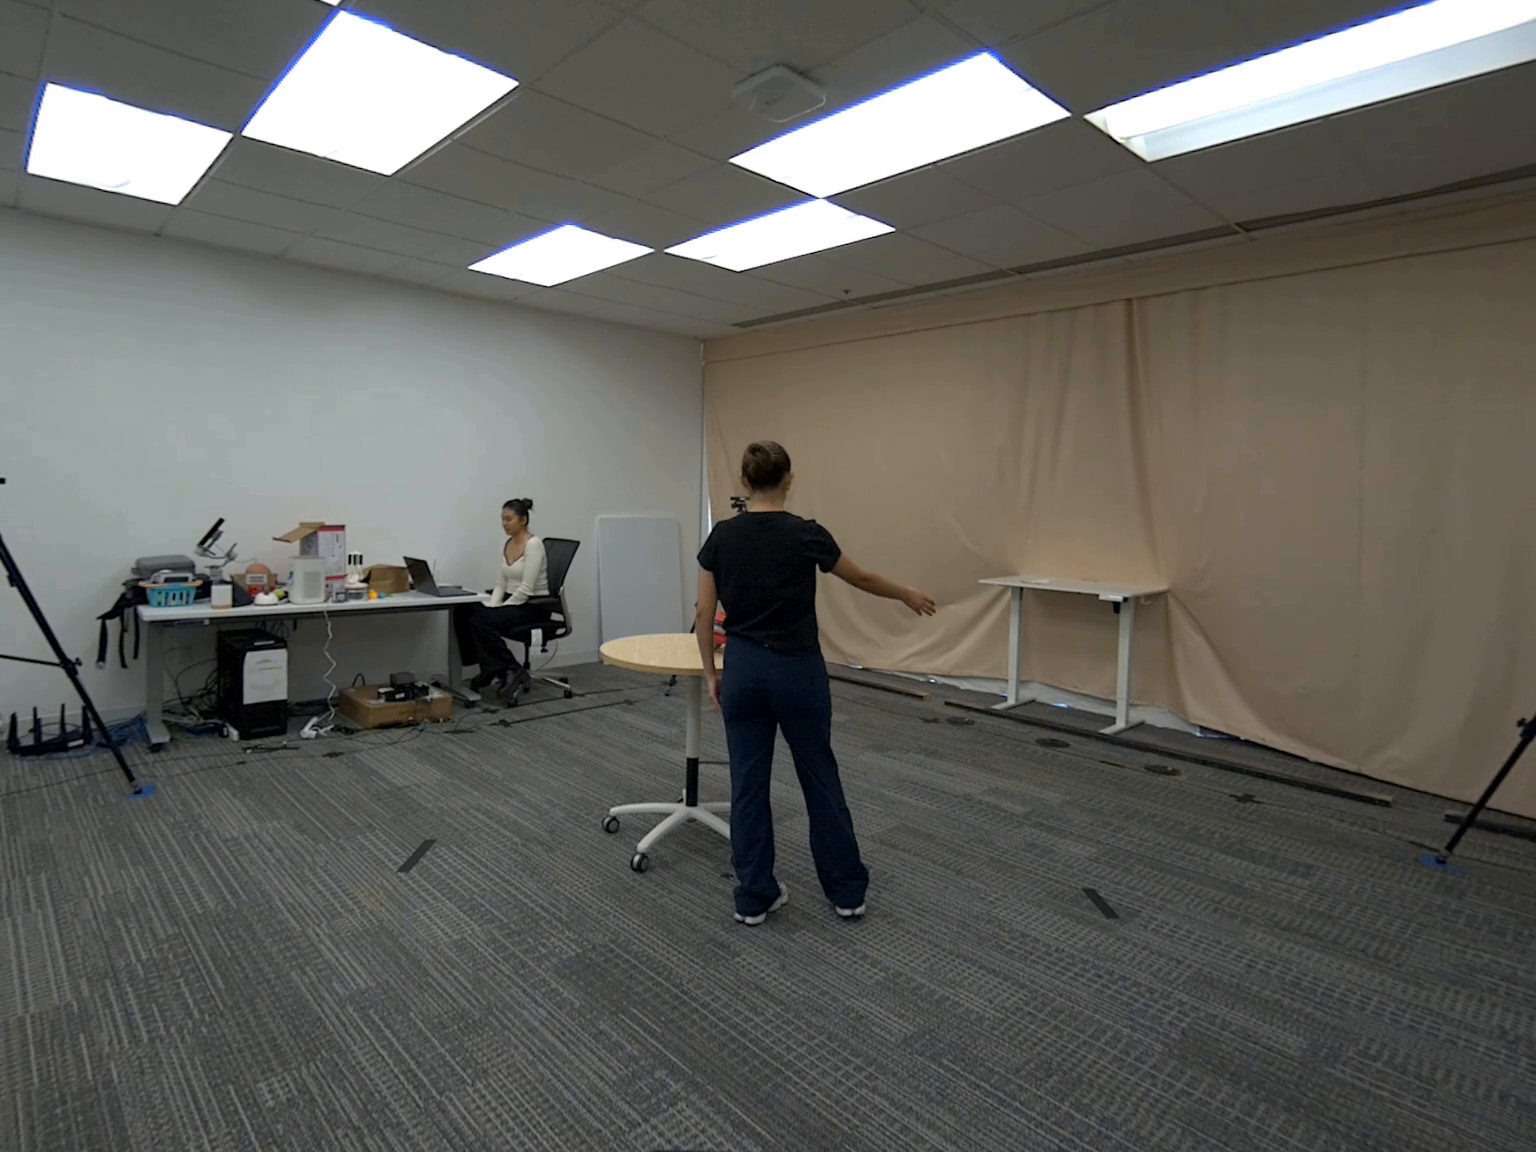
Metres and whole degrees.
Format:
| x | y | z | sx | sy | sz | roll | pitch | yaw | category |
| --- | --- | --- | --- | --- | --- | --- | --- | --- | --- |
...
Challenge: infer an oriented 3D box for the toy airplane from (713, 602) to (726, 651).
| x | y | z | sx | sy | sz | roll | pitch | yaw | category |
| --- | --- | --- | --- | --- | --- | --- | --- | --- | --- |
| -0.130 | 0.227 | 3.379 | 0.255 | 0.156 | 0.256 | 0 | 7 | -22 | toy airplane |
